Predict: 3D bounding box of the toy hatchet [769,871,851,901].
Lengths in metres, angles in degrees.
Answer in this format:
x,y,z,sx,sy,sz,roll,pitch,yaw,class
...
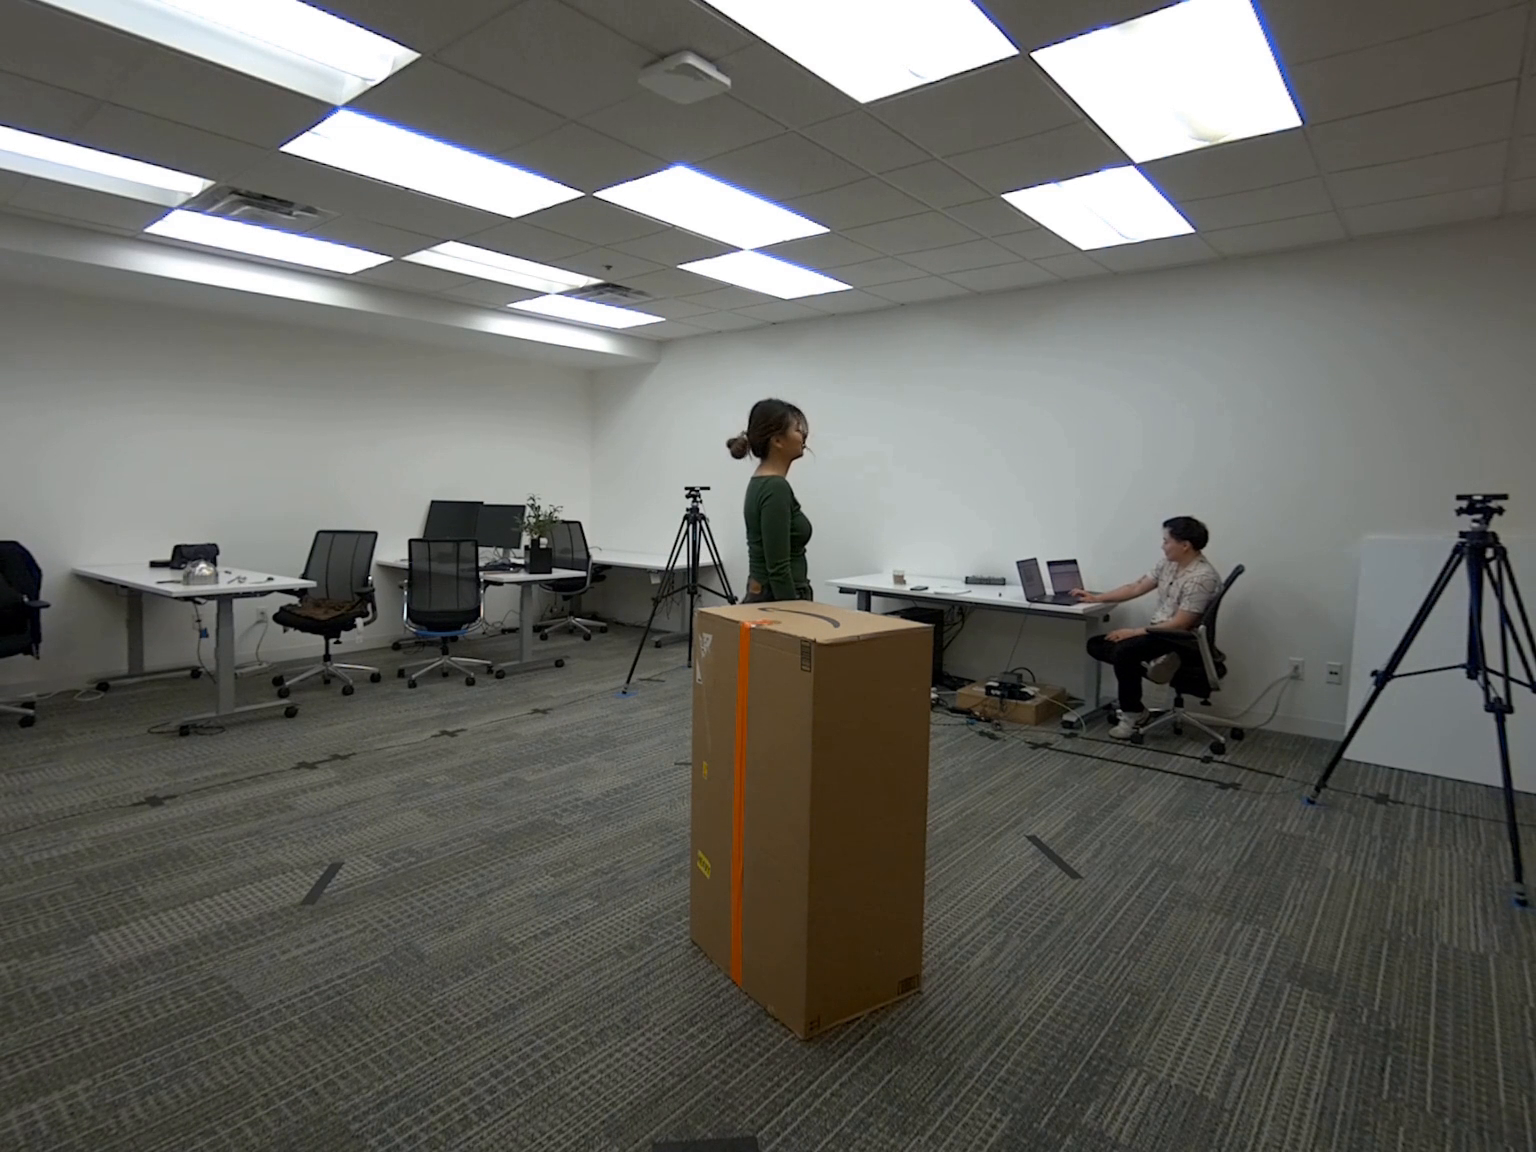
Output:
x,y,z,sx,sy,sz,roll,pitch,yaw,class
0.142,1.075,2.923,0.270,0.029,0.132,-2,8,0,toy hatchet
